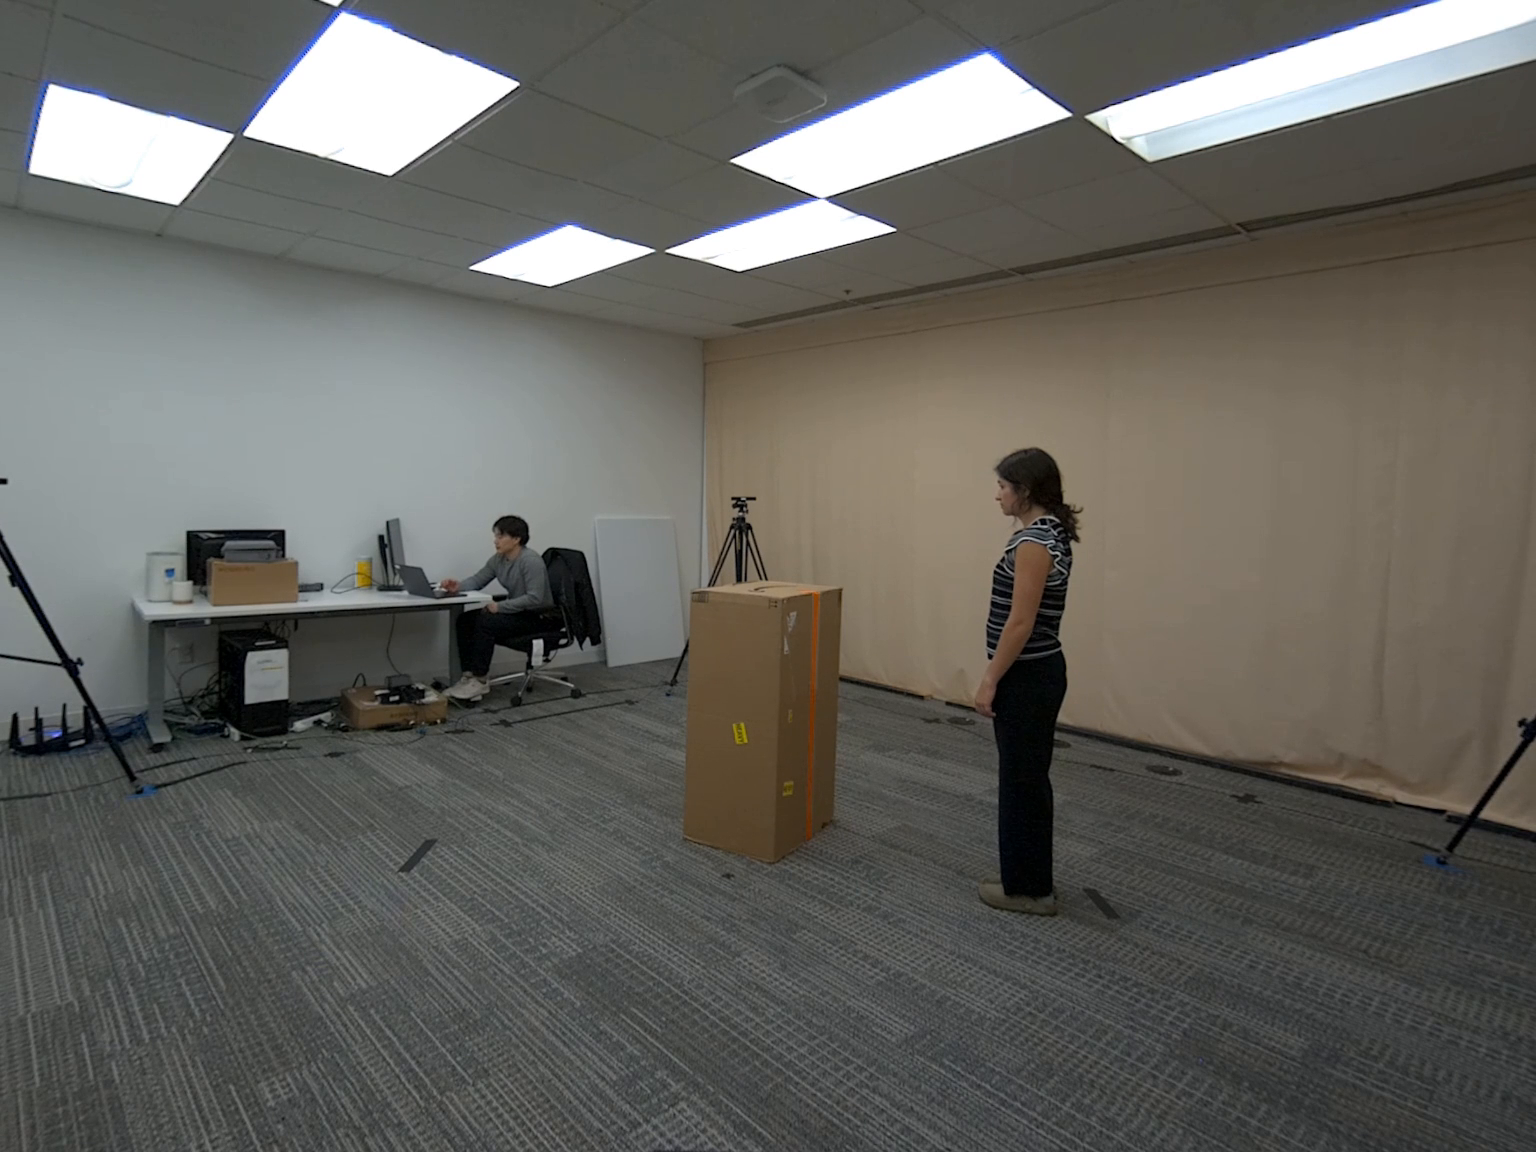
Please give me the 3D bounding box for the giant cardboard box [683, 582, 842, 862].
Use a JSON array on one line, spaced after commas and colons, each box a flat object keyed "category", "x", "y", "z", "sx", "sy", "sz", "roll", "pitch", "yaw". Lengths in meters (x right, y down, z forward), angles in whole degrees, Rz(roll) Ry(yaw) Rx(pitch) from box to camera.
[{"category": "giant cardboard box", "x": -0.012, "y": 0.564, "z": 3.548, "sx": 0.436, "sy": 1.024, "sz": 0.566, "roll": 4, "pitch": 3, "yaw": 30}]
